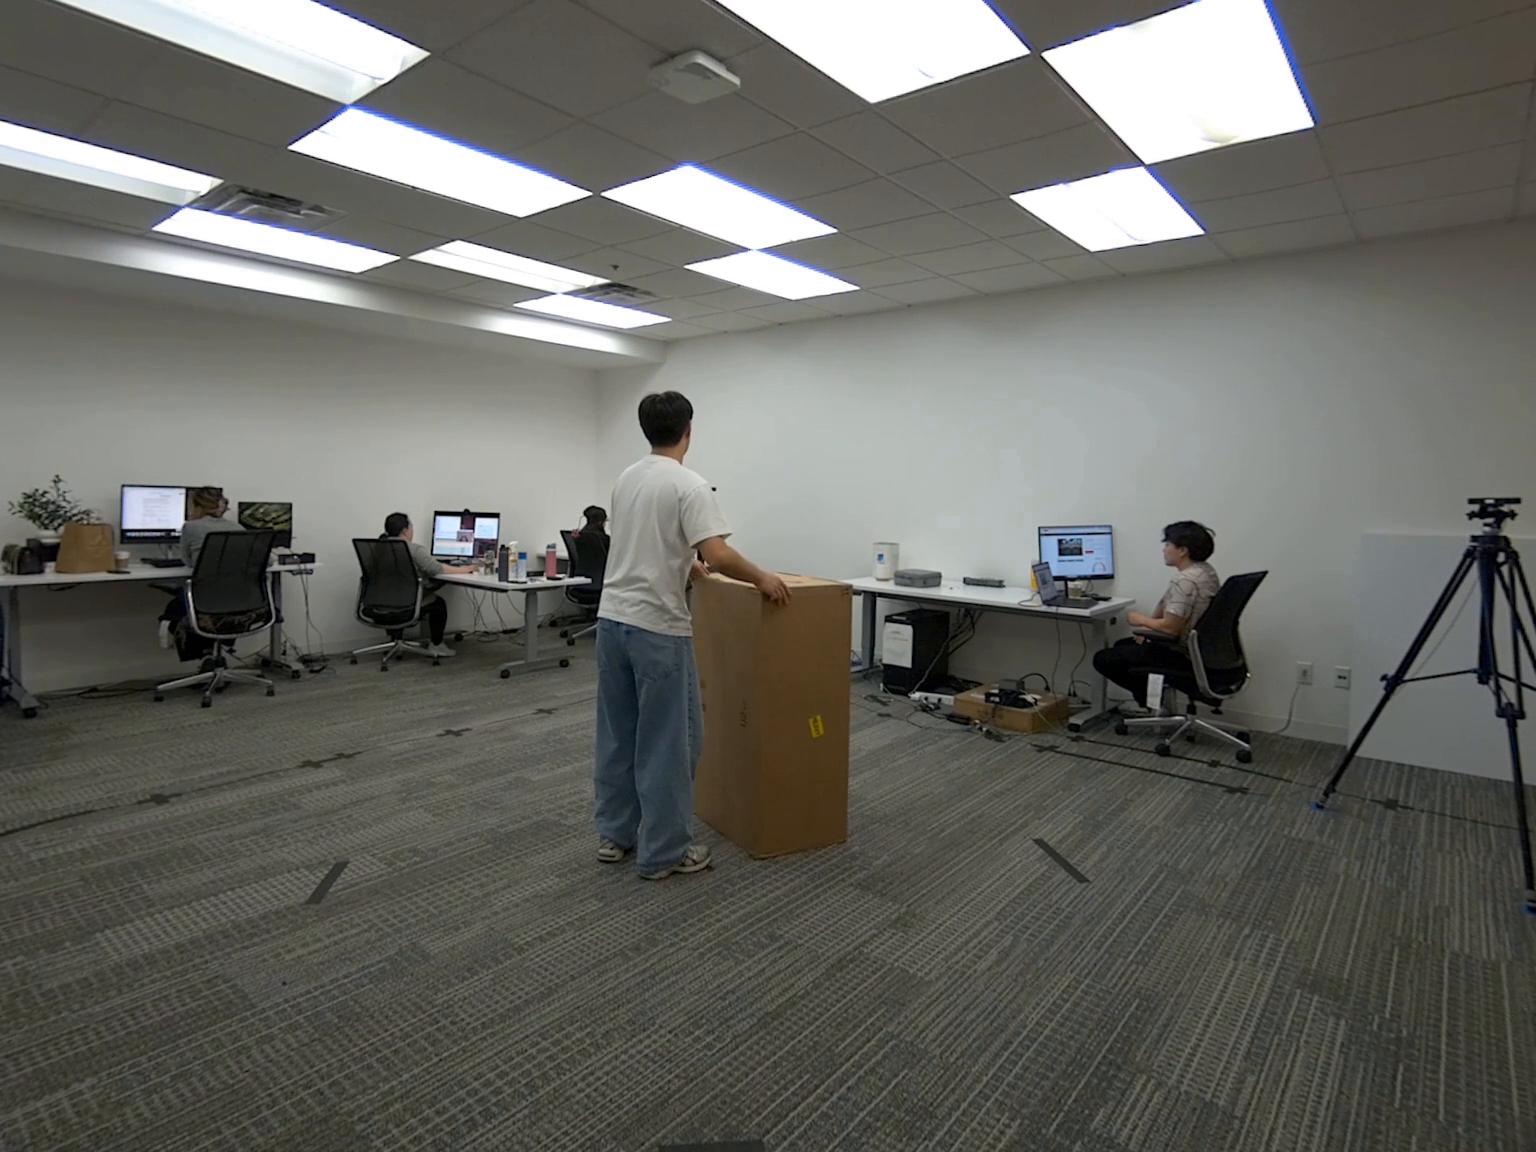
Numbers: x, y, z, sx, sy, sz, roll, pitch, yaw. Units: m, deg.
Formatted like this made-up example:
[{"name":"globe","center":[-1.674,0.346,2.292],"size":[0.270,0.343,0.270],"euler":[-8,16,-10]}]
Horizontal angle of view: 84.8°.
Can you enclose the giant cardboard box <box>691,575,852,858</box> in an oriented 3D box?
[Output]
[{"name":"giant cardboard box","center":[-0.009,0.521,3.515],"size":[0.415,1.023,0.595],"euler":[-1,4,-31]}]
